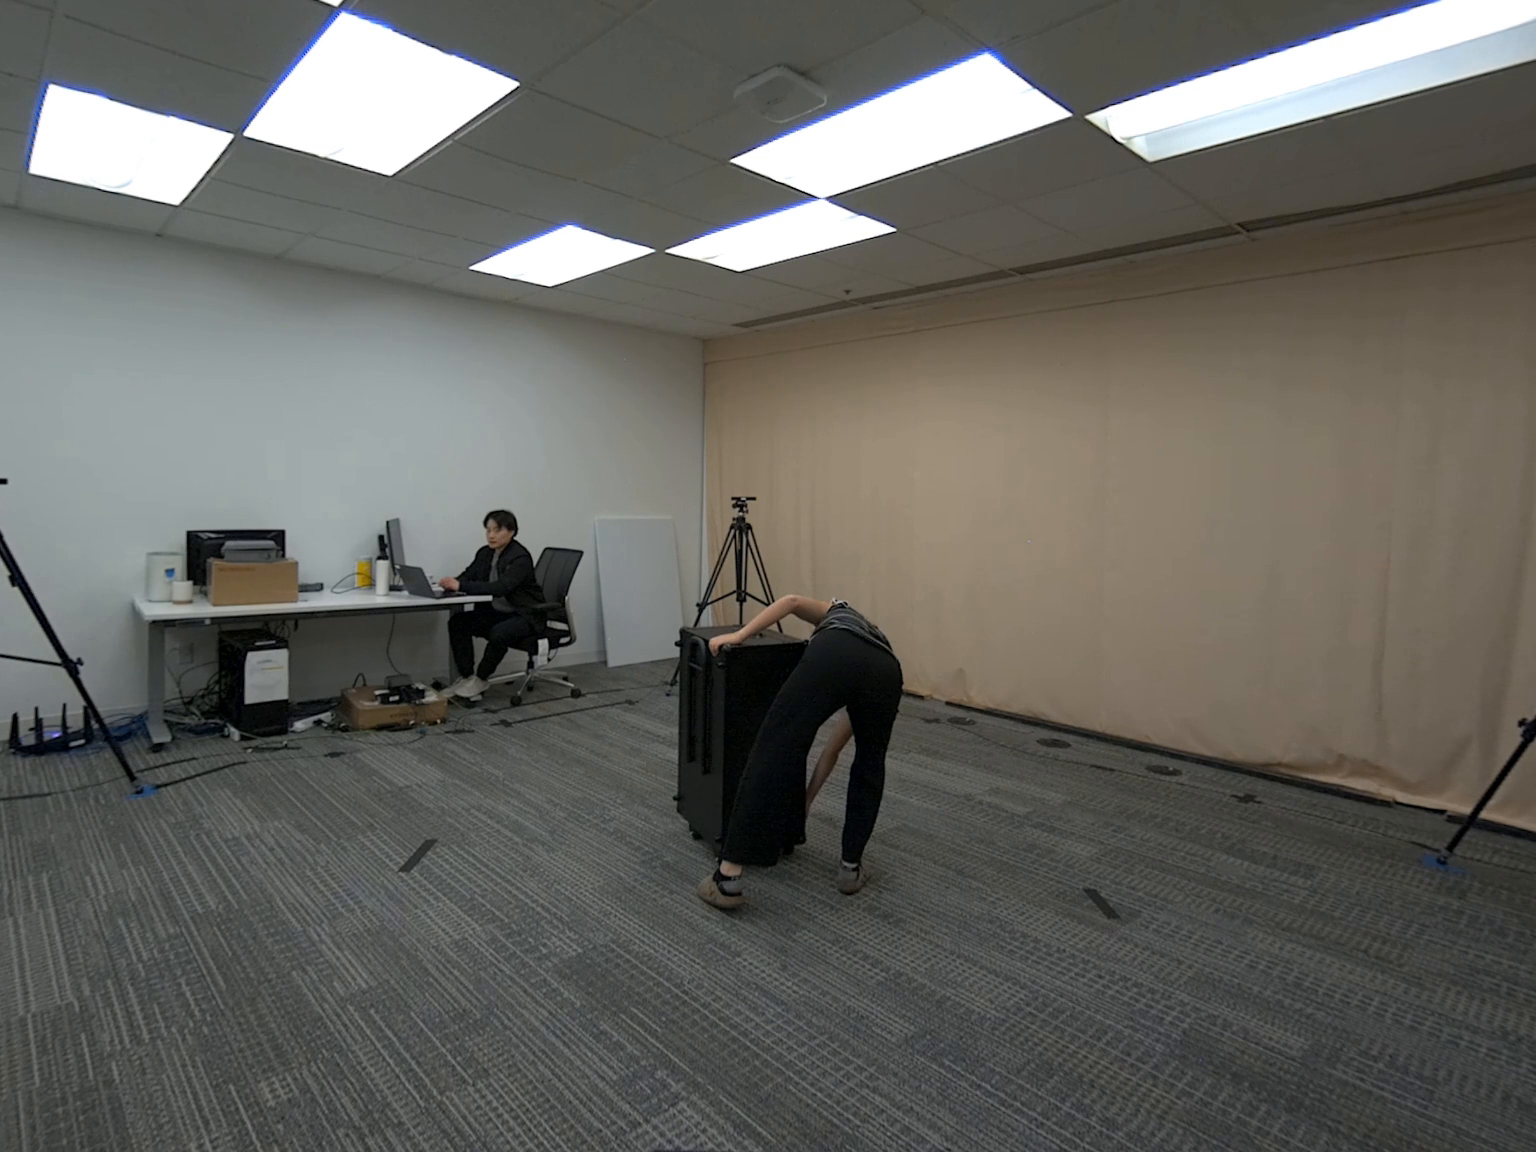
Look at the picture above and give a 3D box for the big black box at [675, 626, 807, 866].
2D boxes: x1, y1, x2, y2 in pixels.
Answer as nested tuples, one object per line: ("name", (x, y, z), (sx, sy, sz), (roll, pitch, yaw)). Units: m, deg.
("big black box", (-0.125, 0.657, 3.366), (0.389, 0.859, 0.531), (-1, 3, -24))
